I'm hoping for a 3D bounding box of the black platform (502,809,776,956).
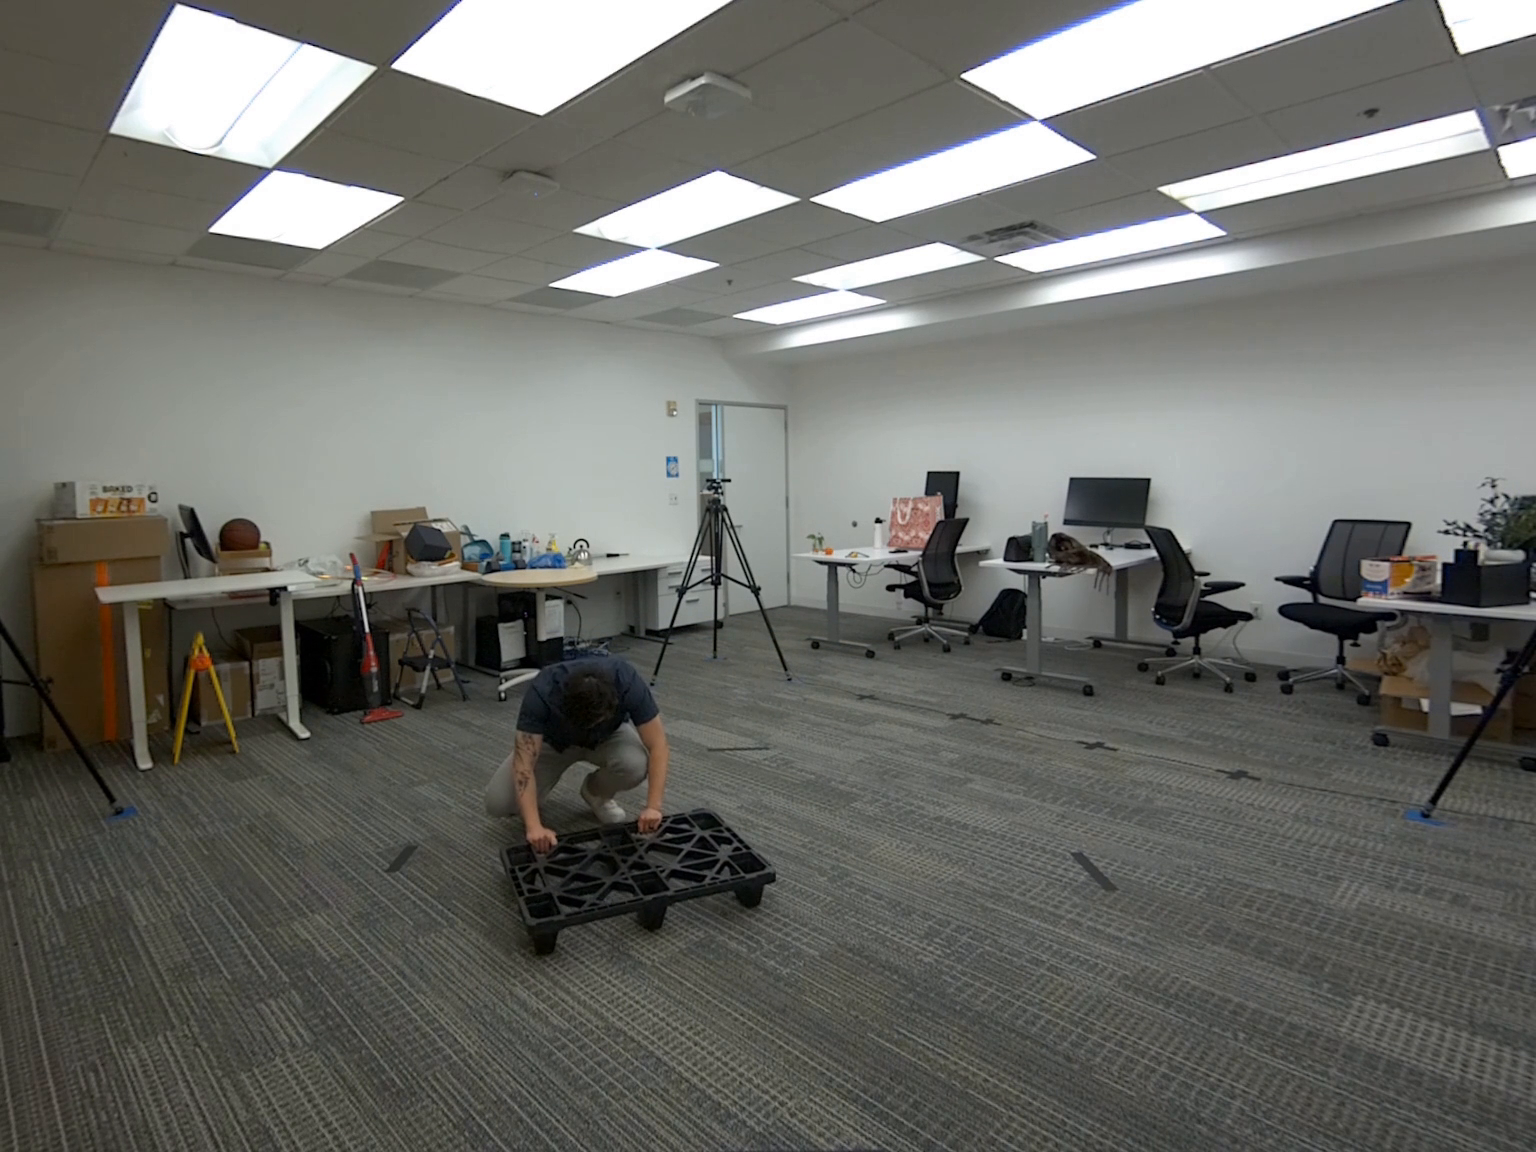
[{"bbox_3d":[-0.444,1.013,2.865,0.790,0.142,0.620,-4,8,-23],"label":"black platform"}]
